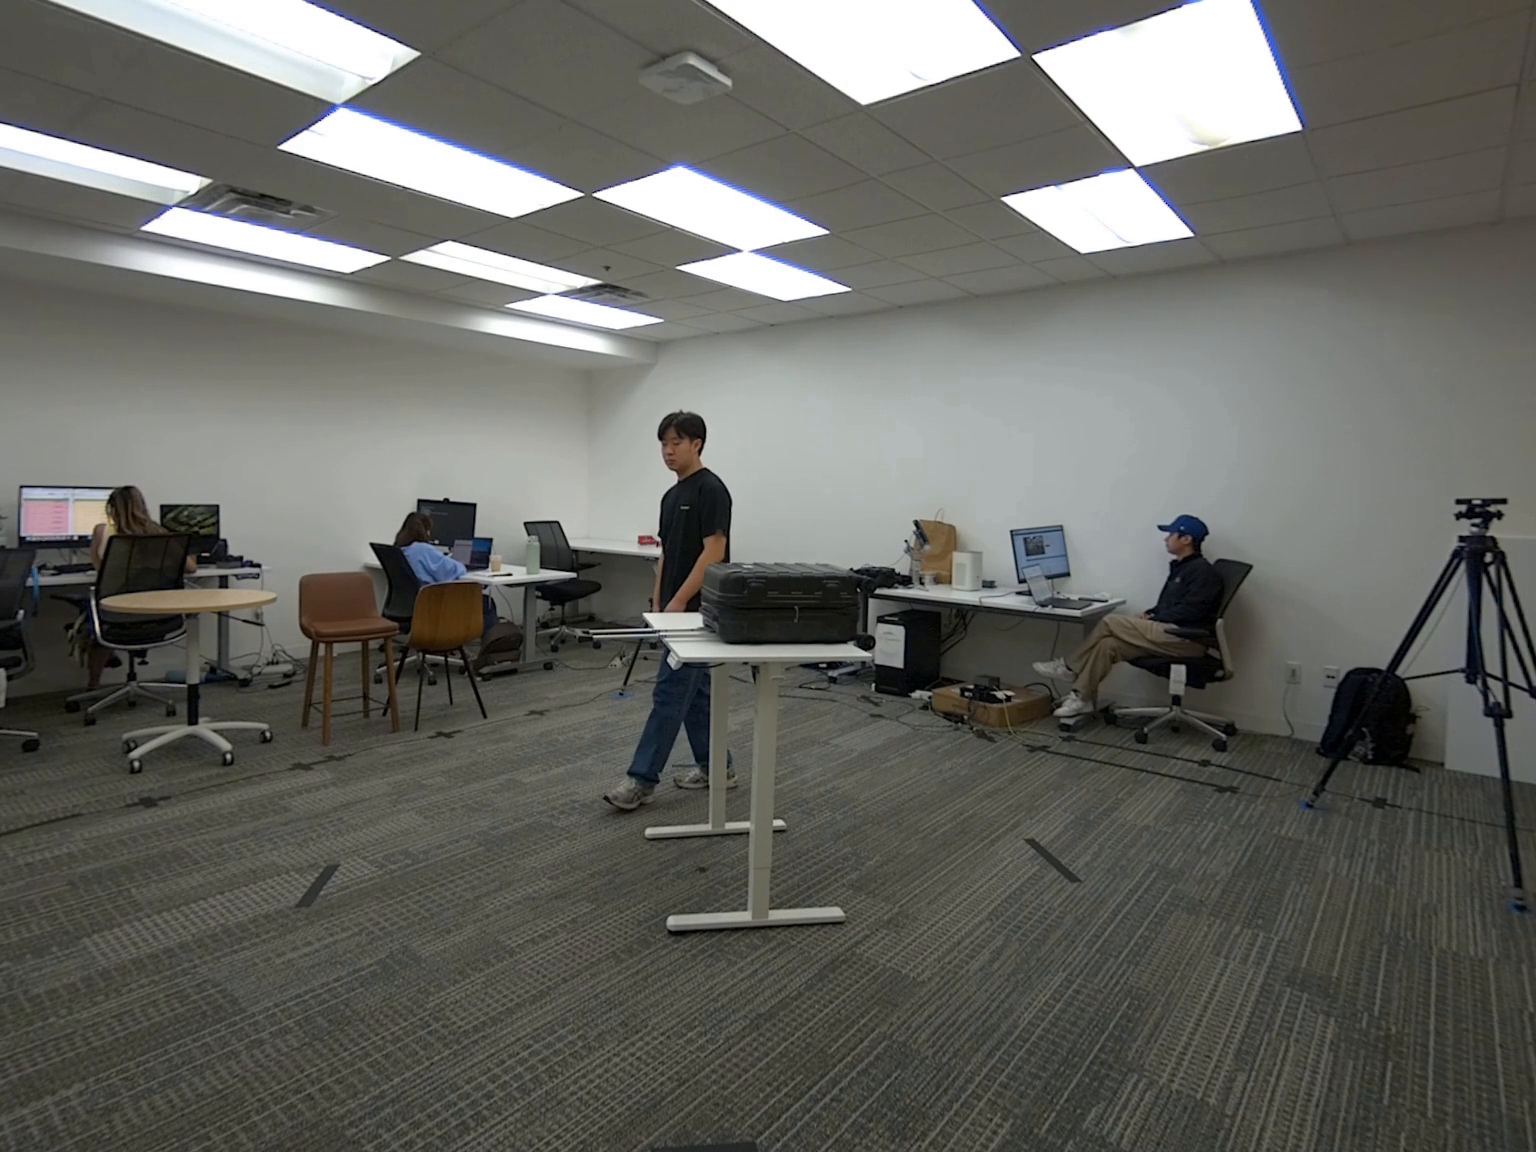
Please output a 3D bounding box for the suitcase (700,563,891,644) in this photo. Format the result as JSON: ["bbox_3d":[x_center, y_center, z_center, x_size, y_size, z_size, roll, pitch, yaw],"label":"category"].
[{"bbox_3d":[-0.149,0.087,2.880,0.962,0.256,0.392,2,4,-16],"label":"suitcase"}]
